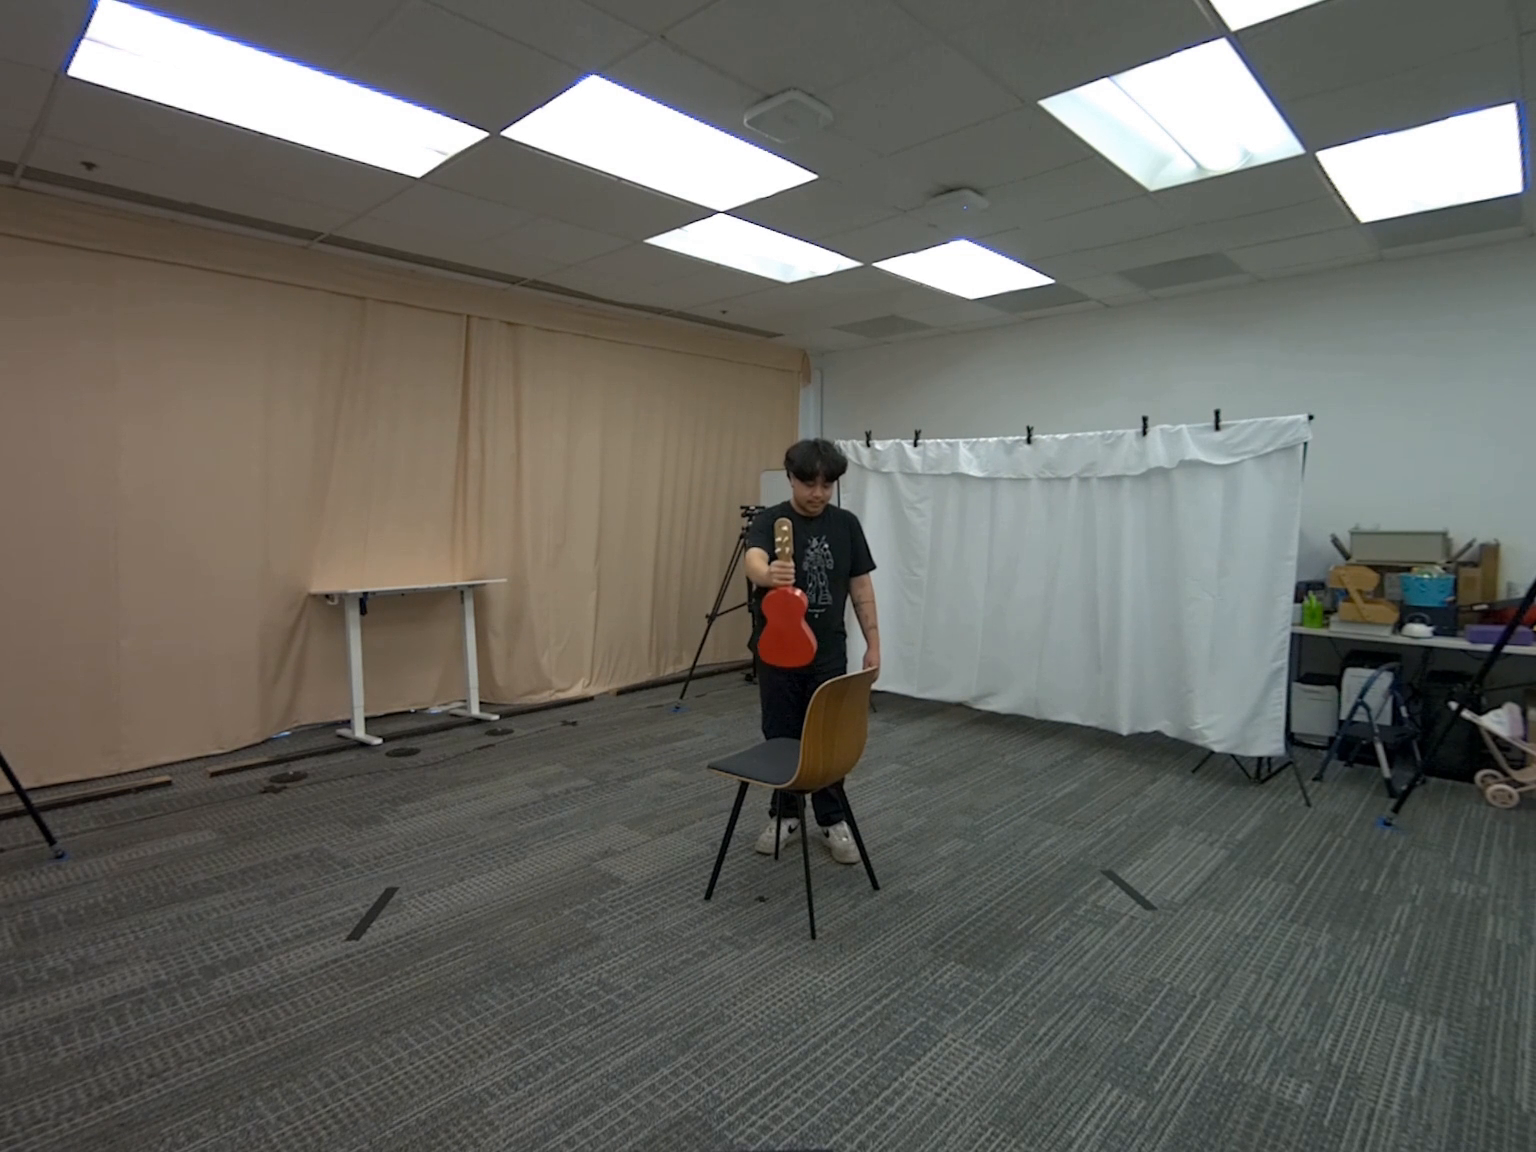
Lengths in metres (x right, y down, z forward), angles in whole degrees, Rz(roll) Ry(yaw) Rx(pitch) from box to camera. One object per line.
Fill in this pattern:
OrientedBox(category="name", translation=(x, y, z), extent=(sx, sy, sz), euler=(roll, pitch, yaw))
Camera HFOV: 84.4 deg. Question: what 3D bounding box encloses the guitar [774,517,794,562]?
OrientedBox(category="guitar", translation=(0.034, 0.062, 2.833), extent=(0.196, 0.493, 0.070), euler=(-9, 12, 19))
